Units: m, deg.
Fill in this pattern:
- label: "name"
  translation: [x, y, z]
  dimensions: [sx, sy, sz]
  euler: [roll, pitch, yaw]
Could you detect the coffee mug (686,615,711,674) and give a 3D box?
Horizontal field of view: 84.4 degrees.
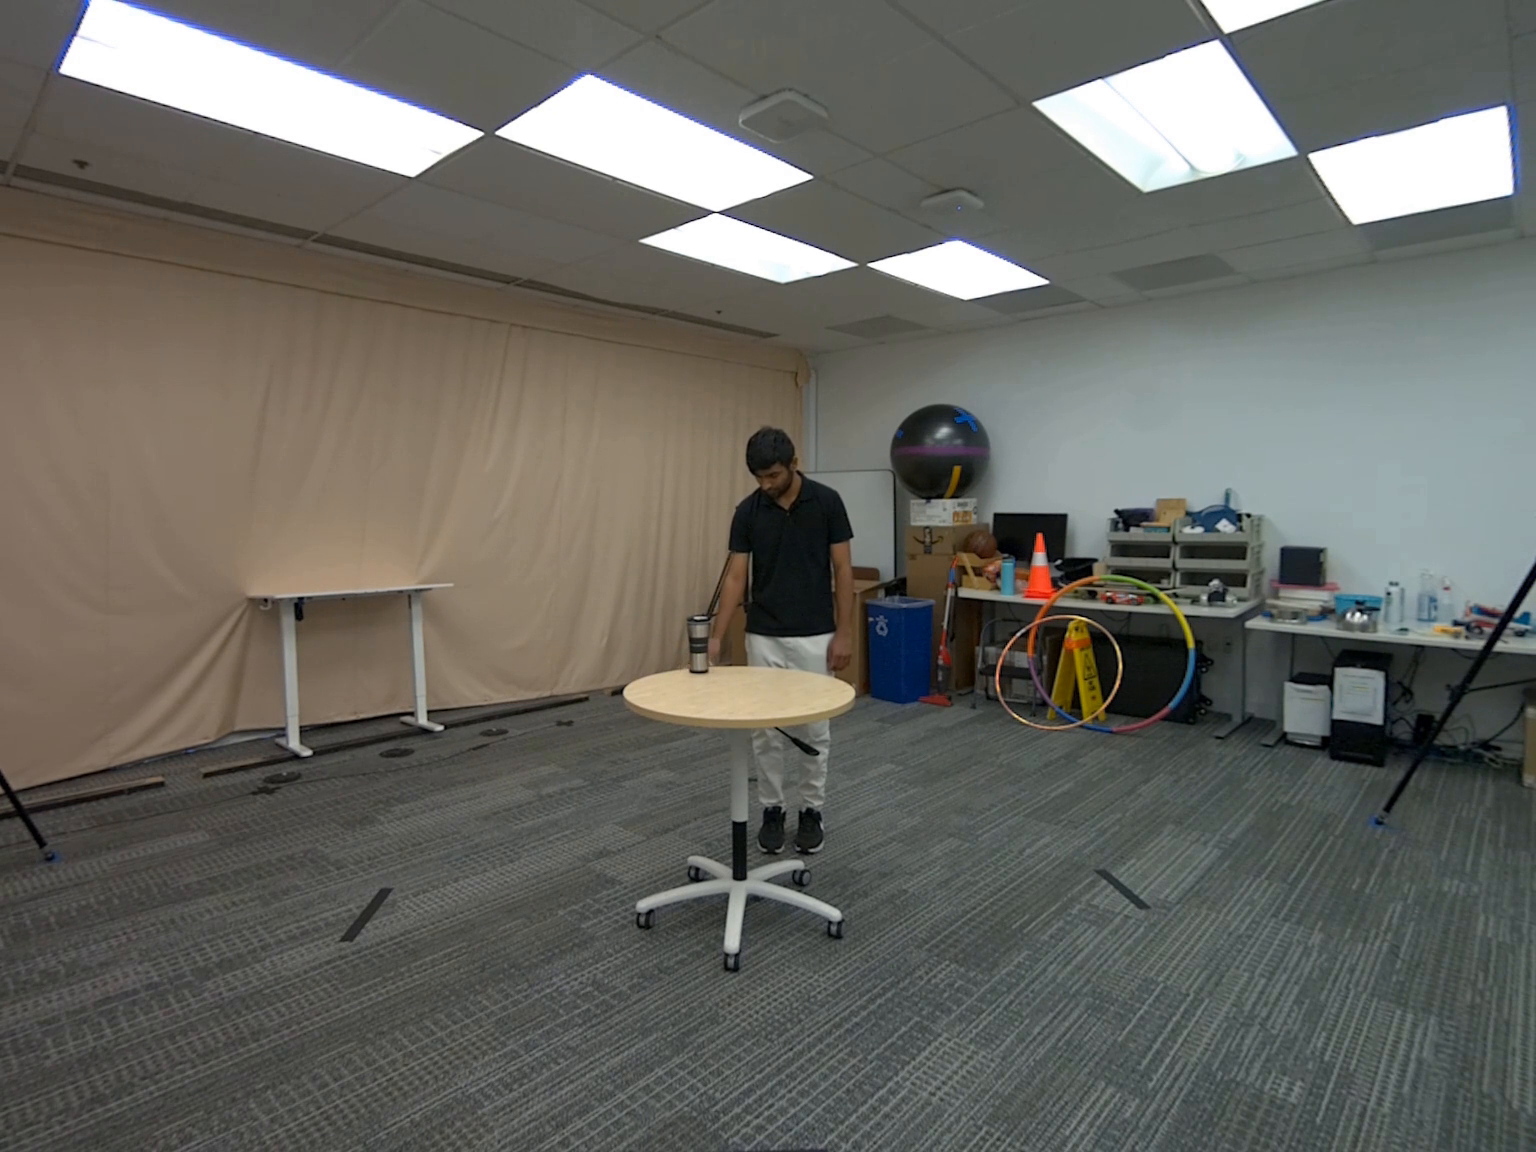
- label: "coffee mug"
  translation: [-0.241, 0.248, 3.093]
  dimensions: [0.090, 0.202, 0.119]
  euler: [0, 6, 29]
